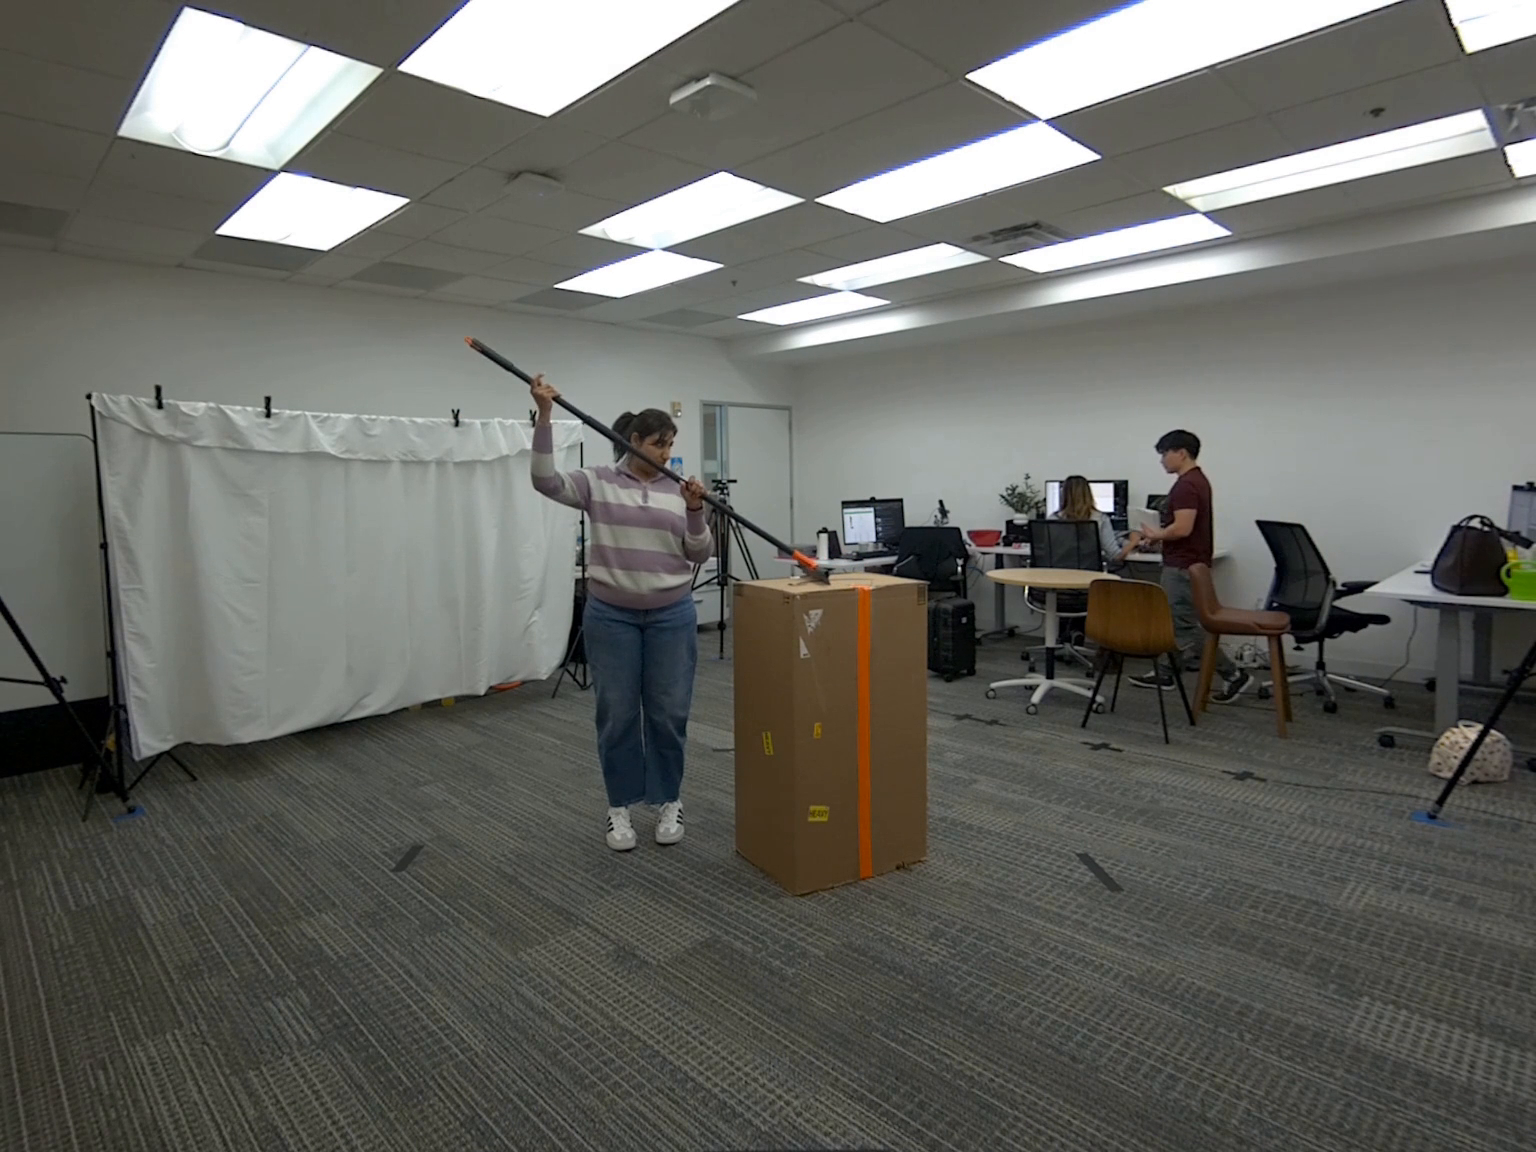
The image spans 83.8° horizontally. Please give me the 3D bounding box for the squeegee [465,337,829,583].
[{"bbox_3d":[-0.429,-0.422,3.092,1.526,0.053,0.441,35,-2,-6],"label":"squeegee"}]
